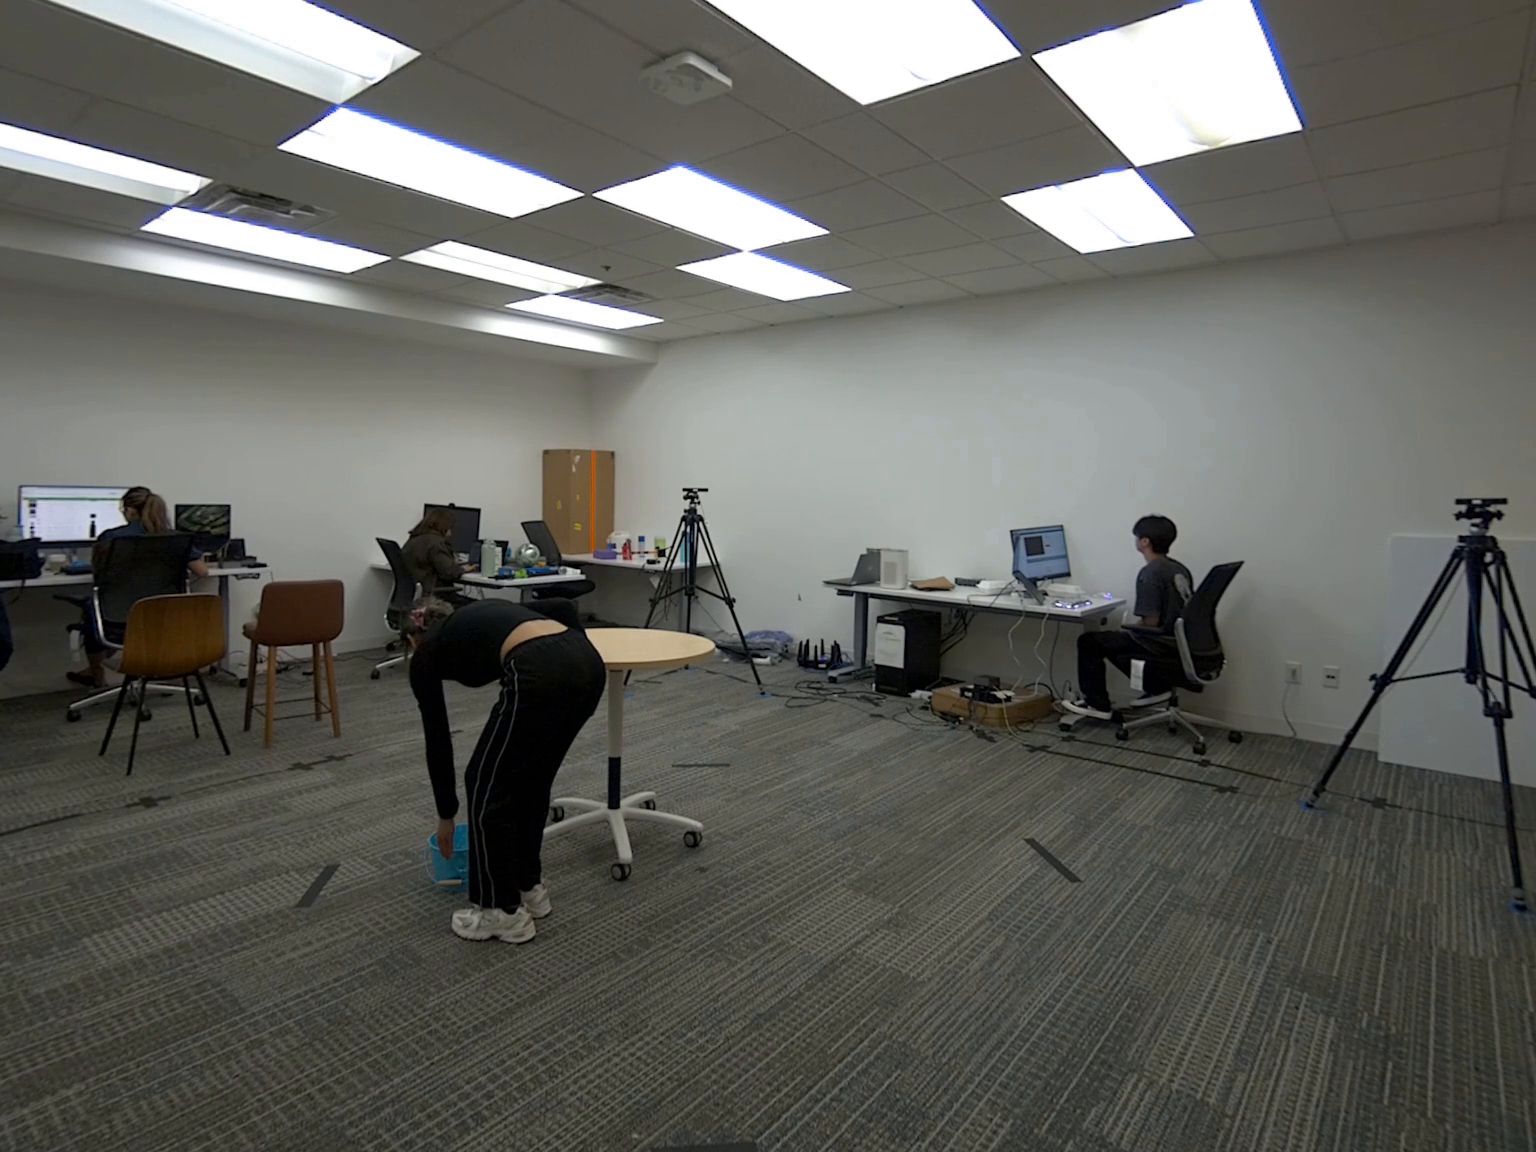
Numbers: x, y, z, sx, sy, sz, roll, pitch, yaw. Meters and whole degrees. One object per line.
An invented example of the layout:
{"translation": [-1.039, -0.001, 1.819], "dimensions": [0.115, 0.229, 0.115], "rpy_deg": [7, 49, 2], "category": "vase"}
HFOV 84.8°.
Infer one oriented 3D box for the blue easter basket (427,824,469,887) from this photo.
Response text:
{"translation": [-1.091, 0.988, 2.994], "dimensions": [0.243, 0.155, 0.245], "rpy_deg": [0, 5, -2], "category": "blue easter basket"}
